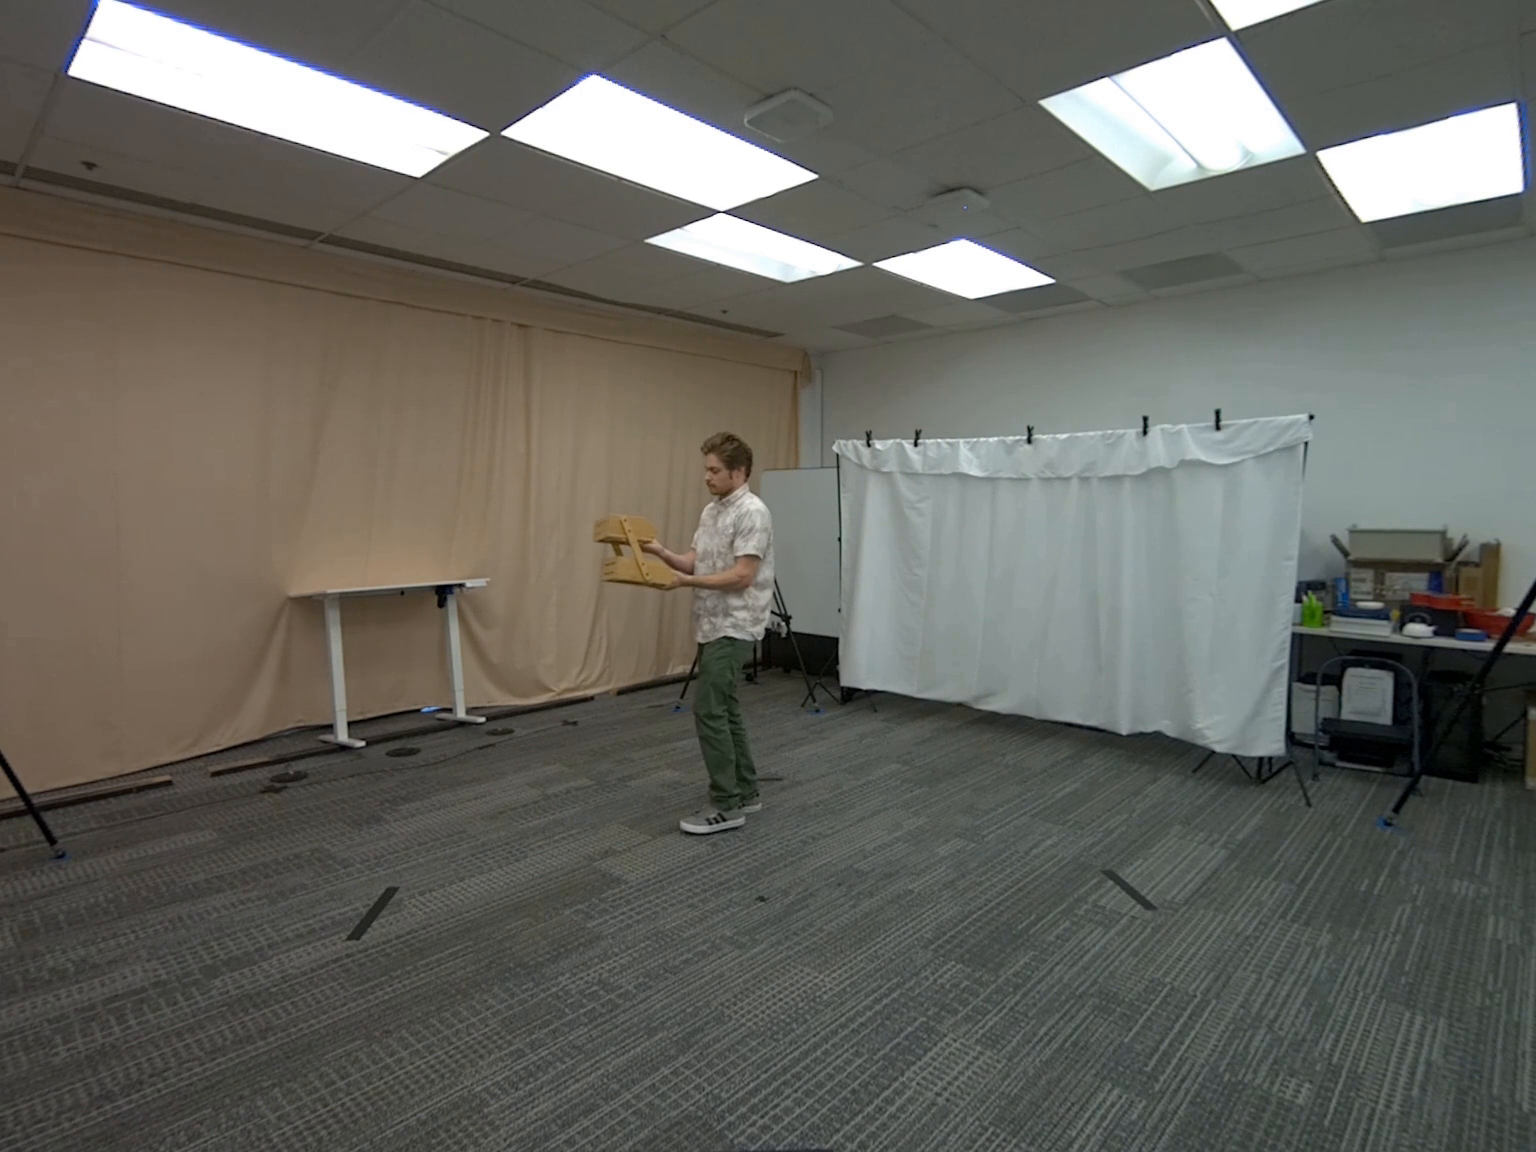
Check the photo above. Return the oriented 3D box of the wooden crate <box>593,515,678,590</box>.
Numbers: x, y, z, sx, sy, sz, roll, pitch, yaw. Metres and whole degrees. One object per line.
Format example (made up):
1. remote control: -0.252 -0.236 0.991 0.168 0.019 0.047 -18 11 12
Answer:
1. wooden crate: -0.568 -0.108 3.596 0.295 0.274 0.331 6 -5 -22
